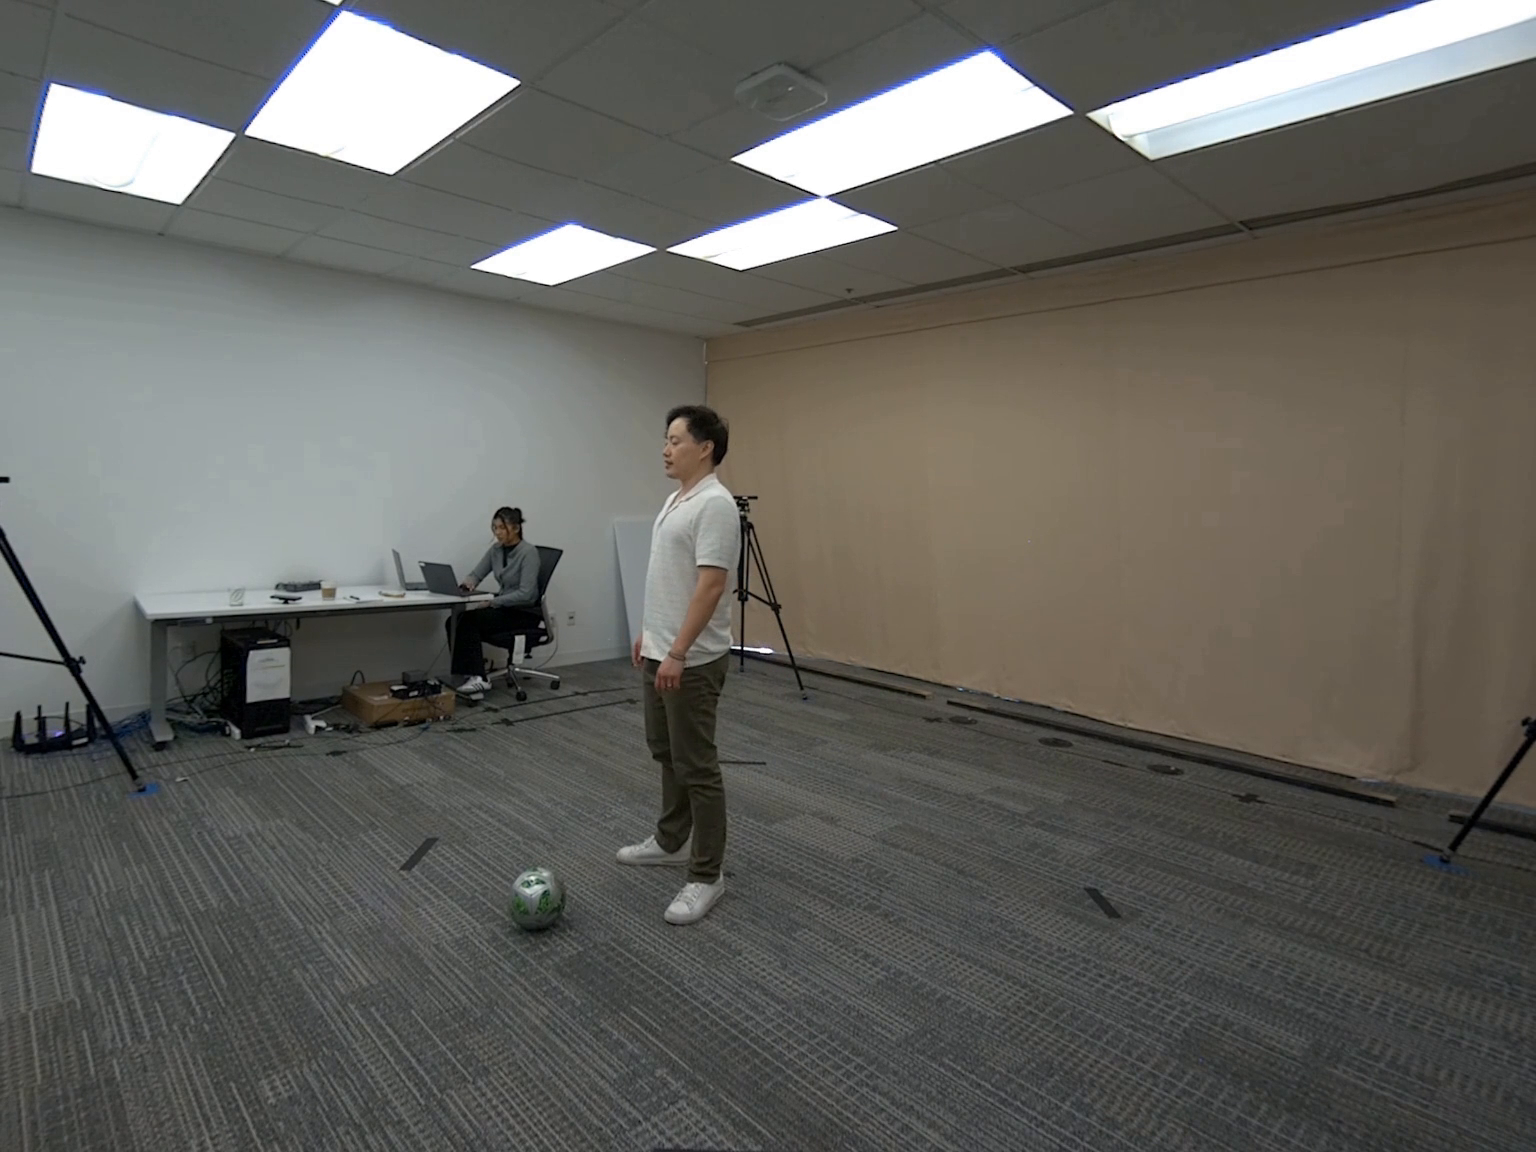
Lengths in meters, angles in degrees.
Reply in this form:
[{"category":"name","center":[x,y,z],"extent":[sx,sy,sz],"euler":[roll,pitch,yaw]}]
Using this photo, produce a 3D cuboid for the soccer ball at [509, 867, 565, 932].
[{"category":"soccer ball","center":[-0.753,1.040,2.694],"extent":[0.187,0.187,0.188],"euler":[1,4,-1]}]
